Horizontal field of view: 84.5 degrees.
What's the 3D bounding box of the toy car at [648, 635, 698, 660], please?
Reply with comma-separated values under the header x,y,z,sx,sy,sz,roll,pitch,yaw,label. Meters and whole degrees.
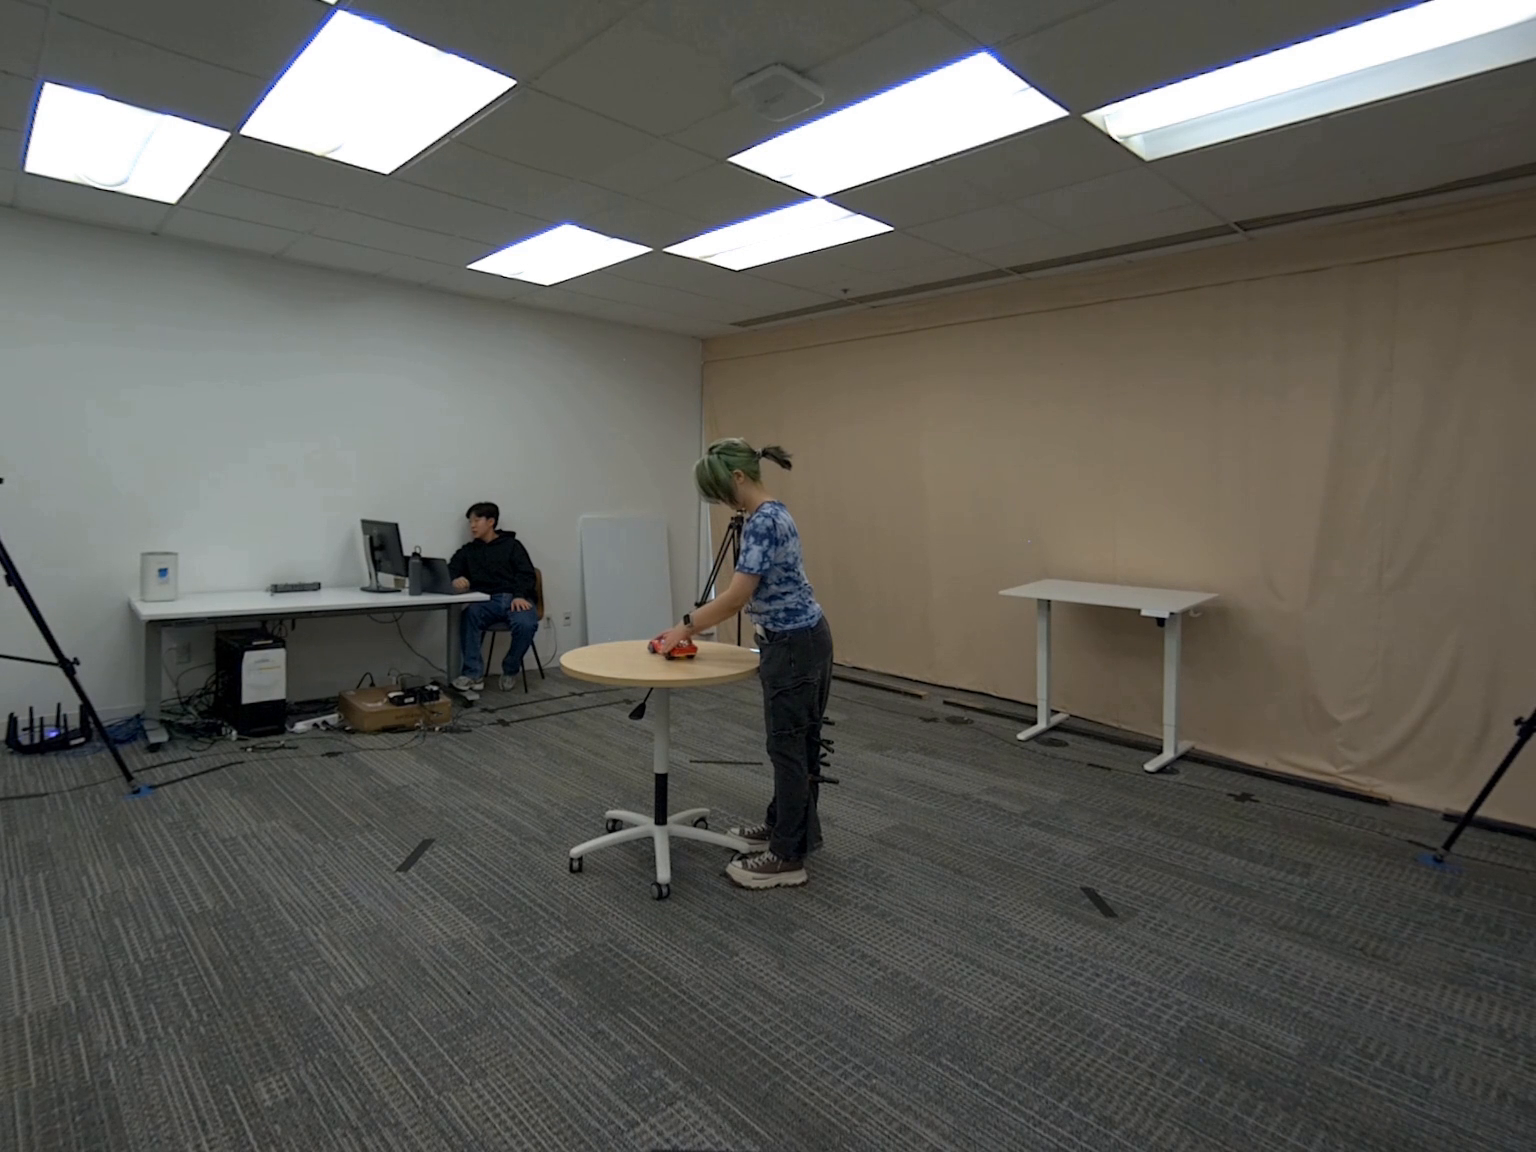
x,y,z,sx,sy,sz,roll,pitch,yaw,label
-0.364,0.276,3.198,0.127,0.083,0.259,-1,-5,-32,toy car
